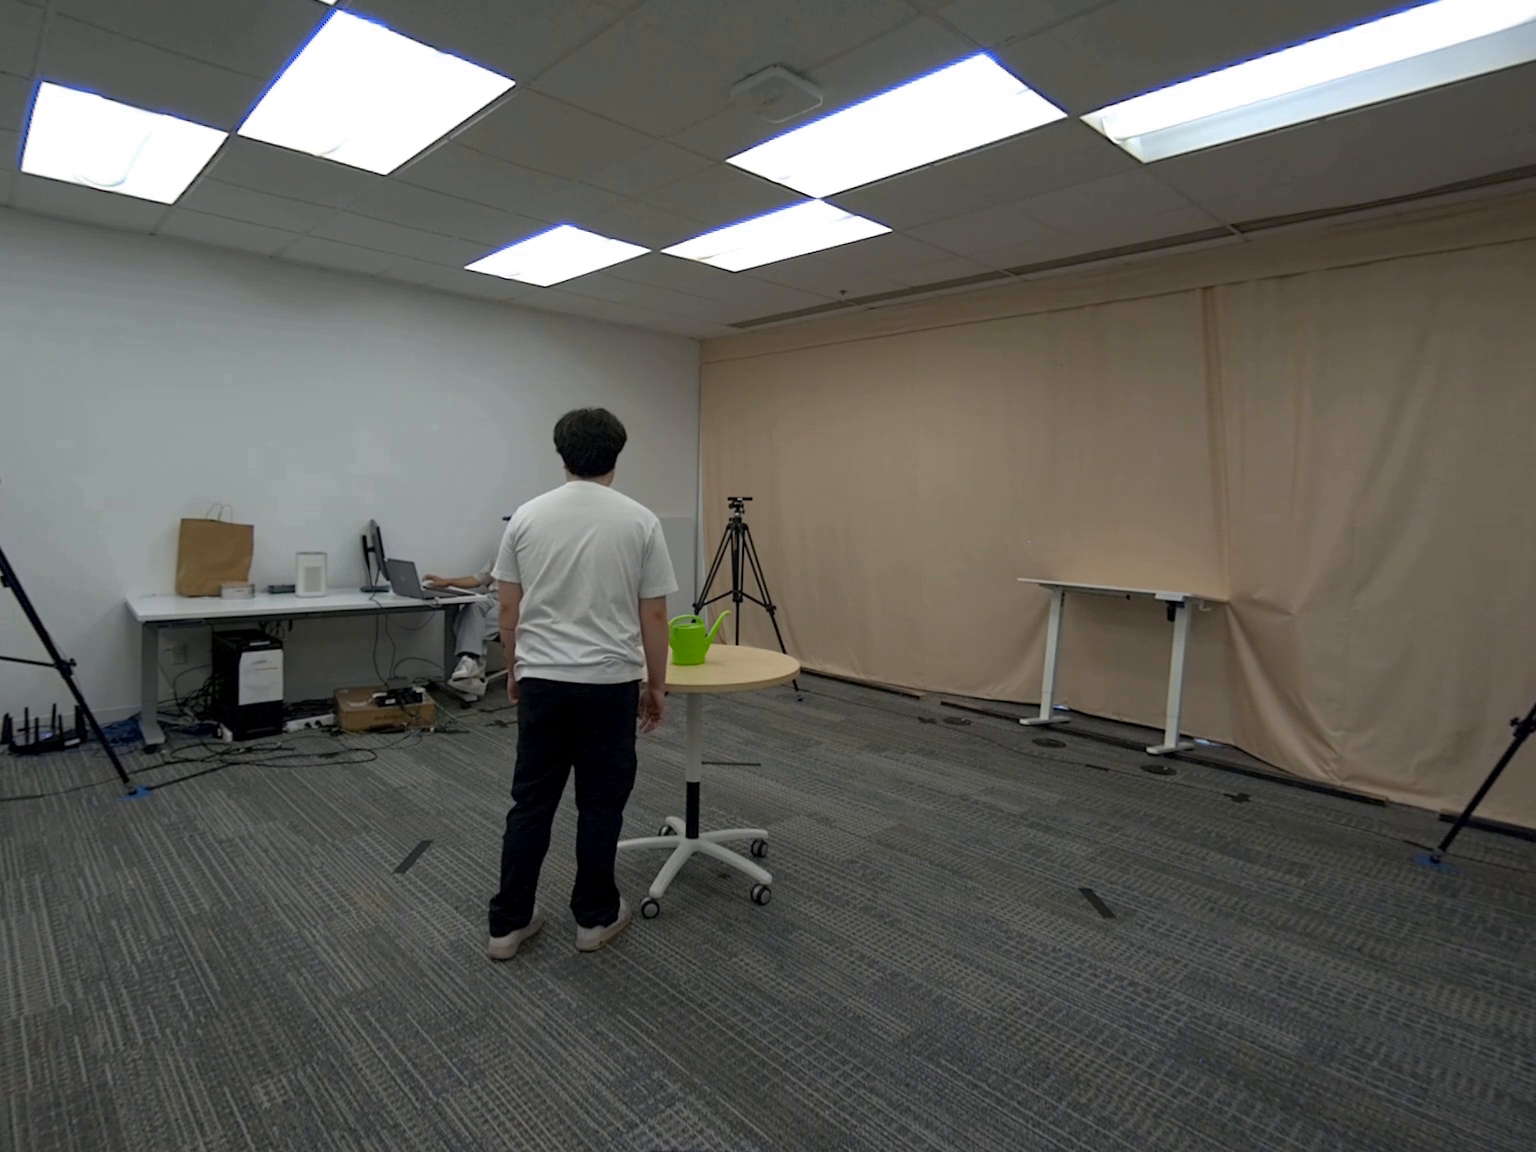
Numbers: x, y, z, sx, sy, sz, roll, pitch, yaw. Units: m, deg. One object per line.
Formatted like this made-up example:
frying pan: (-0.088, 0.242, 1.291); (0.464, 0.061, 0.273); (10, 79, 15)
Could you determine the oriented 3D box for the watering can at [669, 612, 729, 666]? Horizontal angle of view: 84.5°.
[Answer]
watering can: (-0.264, 0.228, 3.070); (0.273, 0.176, 0.100); (-3, 6, -26)
